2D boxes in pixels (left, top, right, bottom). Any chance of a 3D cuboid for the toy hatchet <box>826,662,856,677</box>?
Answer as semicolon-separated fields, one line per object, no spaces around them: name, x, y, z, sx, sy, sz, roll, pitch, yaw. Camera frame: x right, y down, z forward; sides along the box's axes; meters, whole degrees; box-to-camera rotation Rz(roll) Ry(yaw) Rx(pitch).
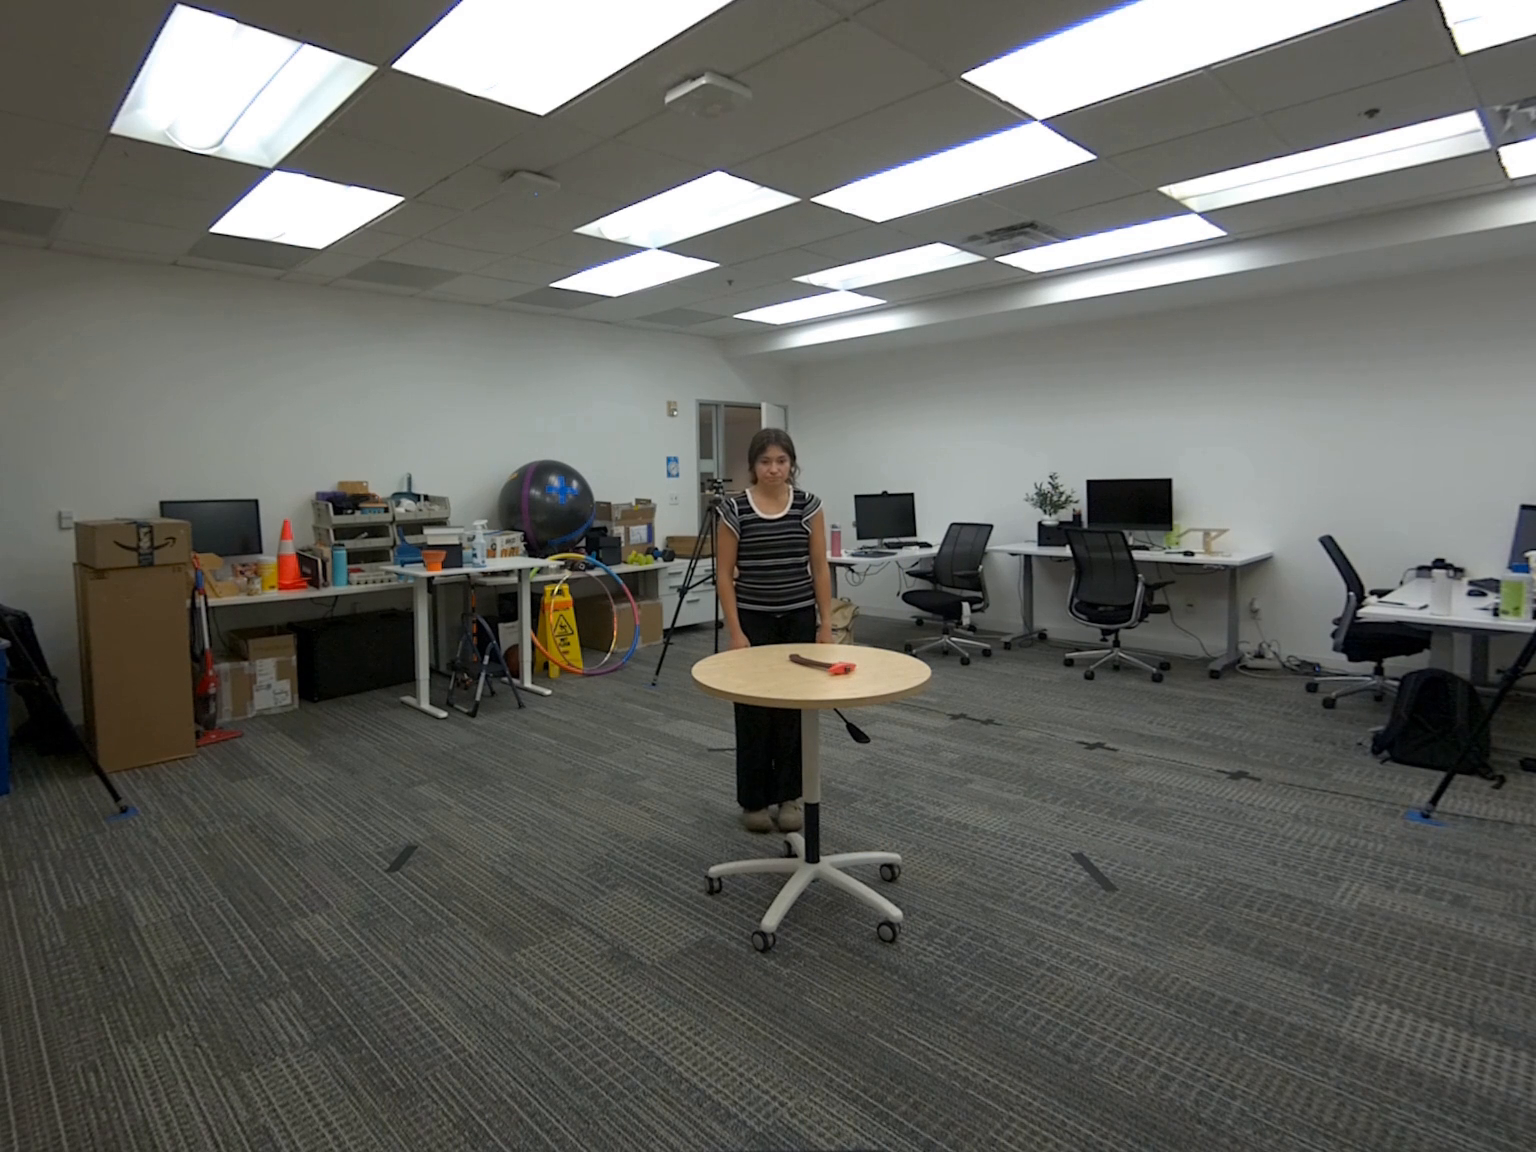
toy hatchet;0.188;0.284;2.776;0.128;0.029;0.277;-5;7;-25
